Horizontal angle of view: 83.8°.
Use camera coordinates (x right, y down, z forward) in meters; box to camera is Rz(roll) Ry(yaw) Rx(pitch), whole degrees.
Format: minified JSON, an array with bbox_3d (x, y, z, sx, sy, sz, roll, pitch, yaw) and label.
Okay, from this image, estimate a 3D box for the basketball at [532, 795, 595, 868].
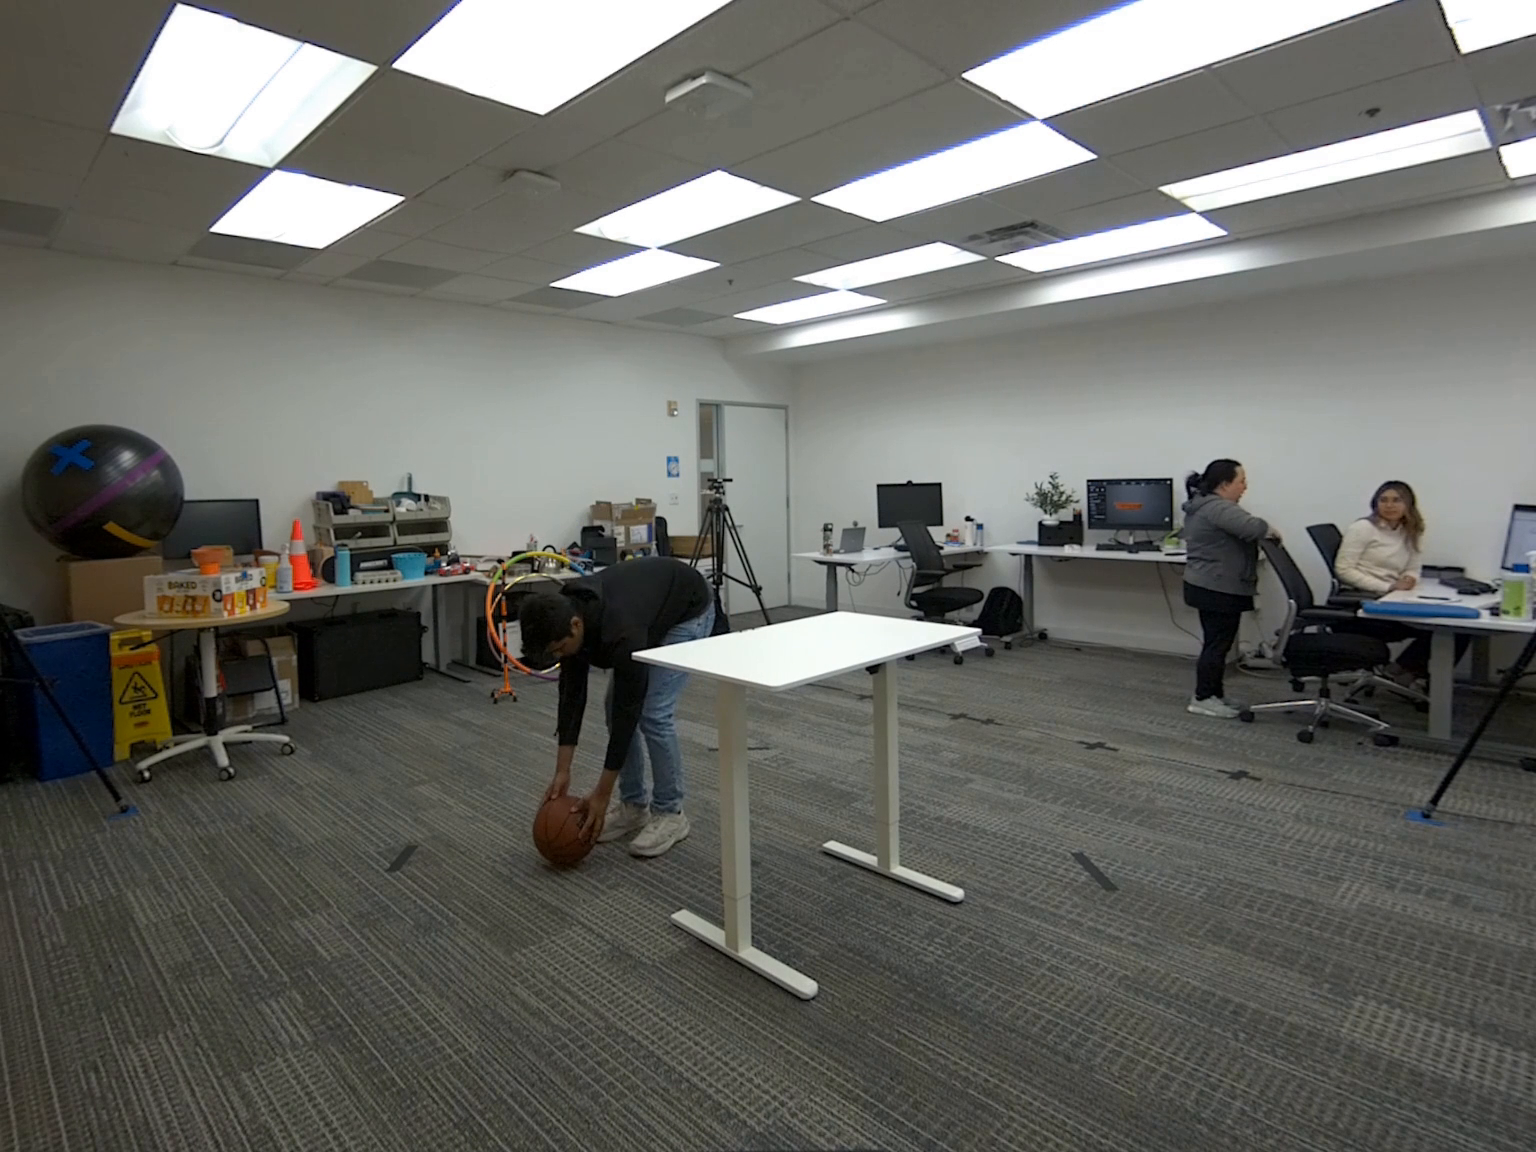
[{"bbox_3d":[-0.742,0.905,3.131,0.236,0.235,0.237,-1,5,-2],"label":"basketball"}]
